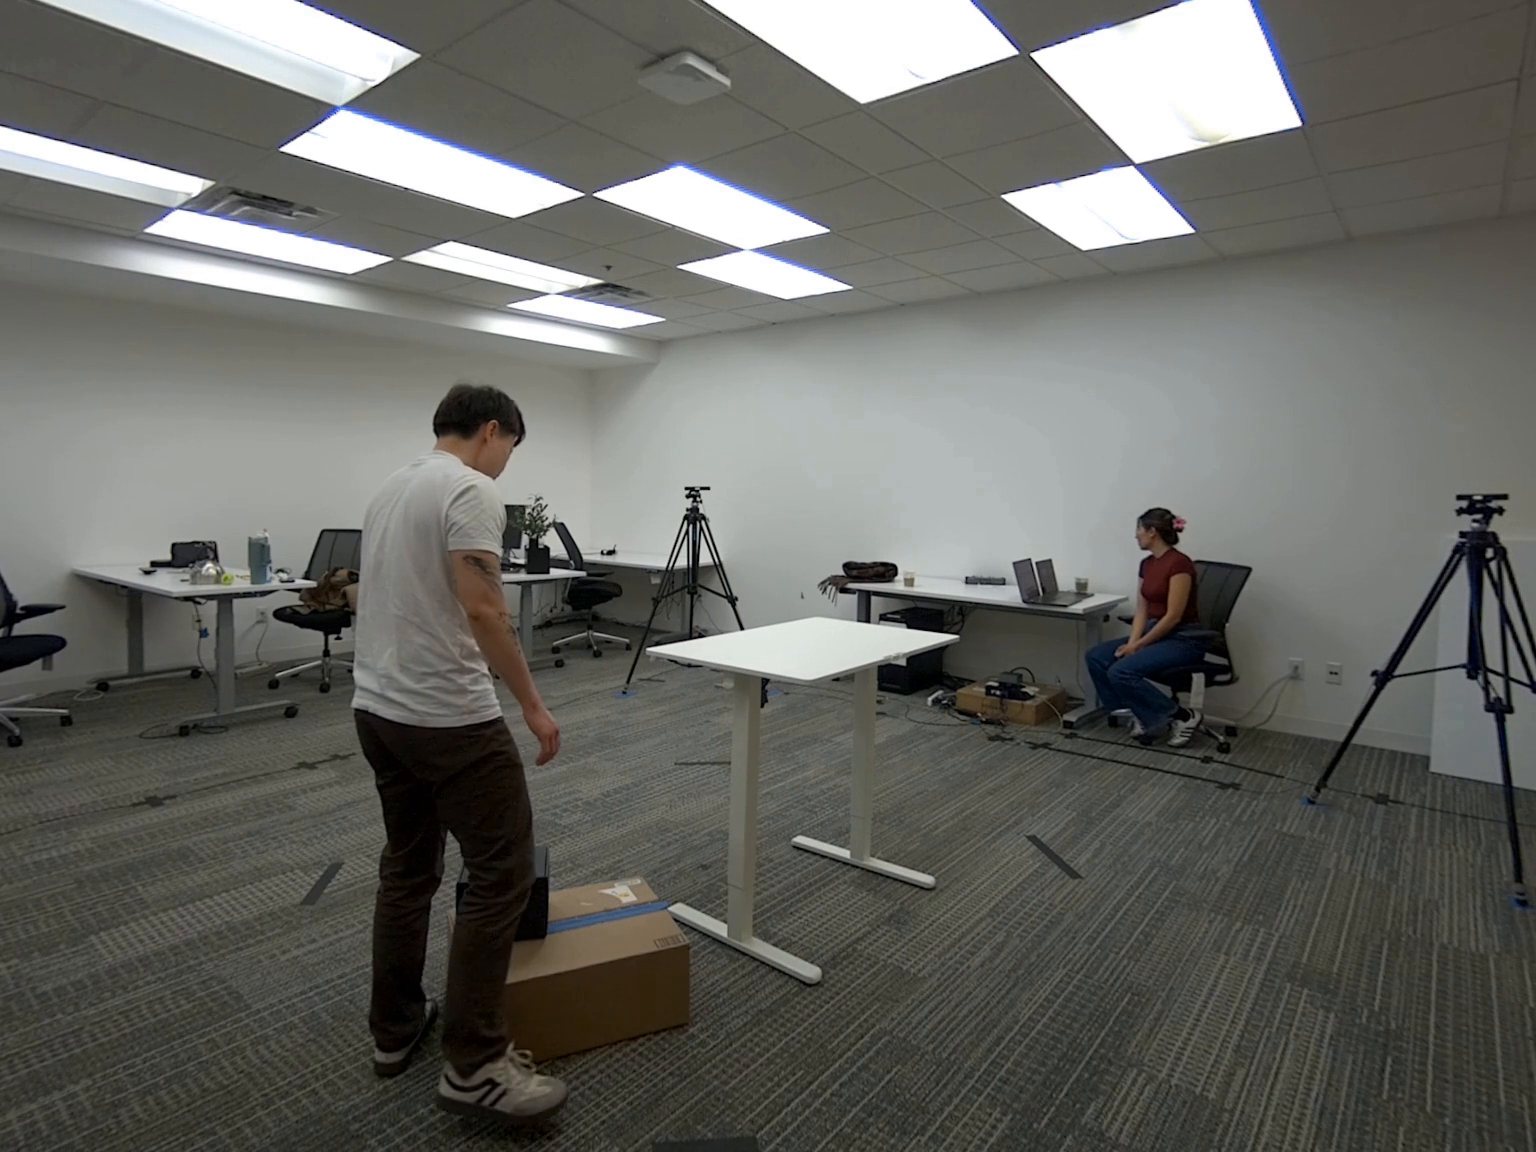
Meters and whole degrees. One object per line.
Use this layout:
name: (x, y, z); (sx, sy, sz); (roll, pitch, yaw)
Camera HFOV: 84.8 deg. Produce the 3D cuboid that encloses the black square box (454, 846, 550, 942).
black square box: (-0.711, 0.841, 2.282); (0.226, 0.155, 0.220); (1, 4, -9)
